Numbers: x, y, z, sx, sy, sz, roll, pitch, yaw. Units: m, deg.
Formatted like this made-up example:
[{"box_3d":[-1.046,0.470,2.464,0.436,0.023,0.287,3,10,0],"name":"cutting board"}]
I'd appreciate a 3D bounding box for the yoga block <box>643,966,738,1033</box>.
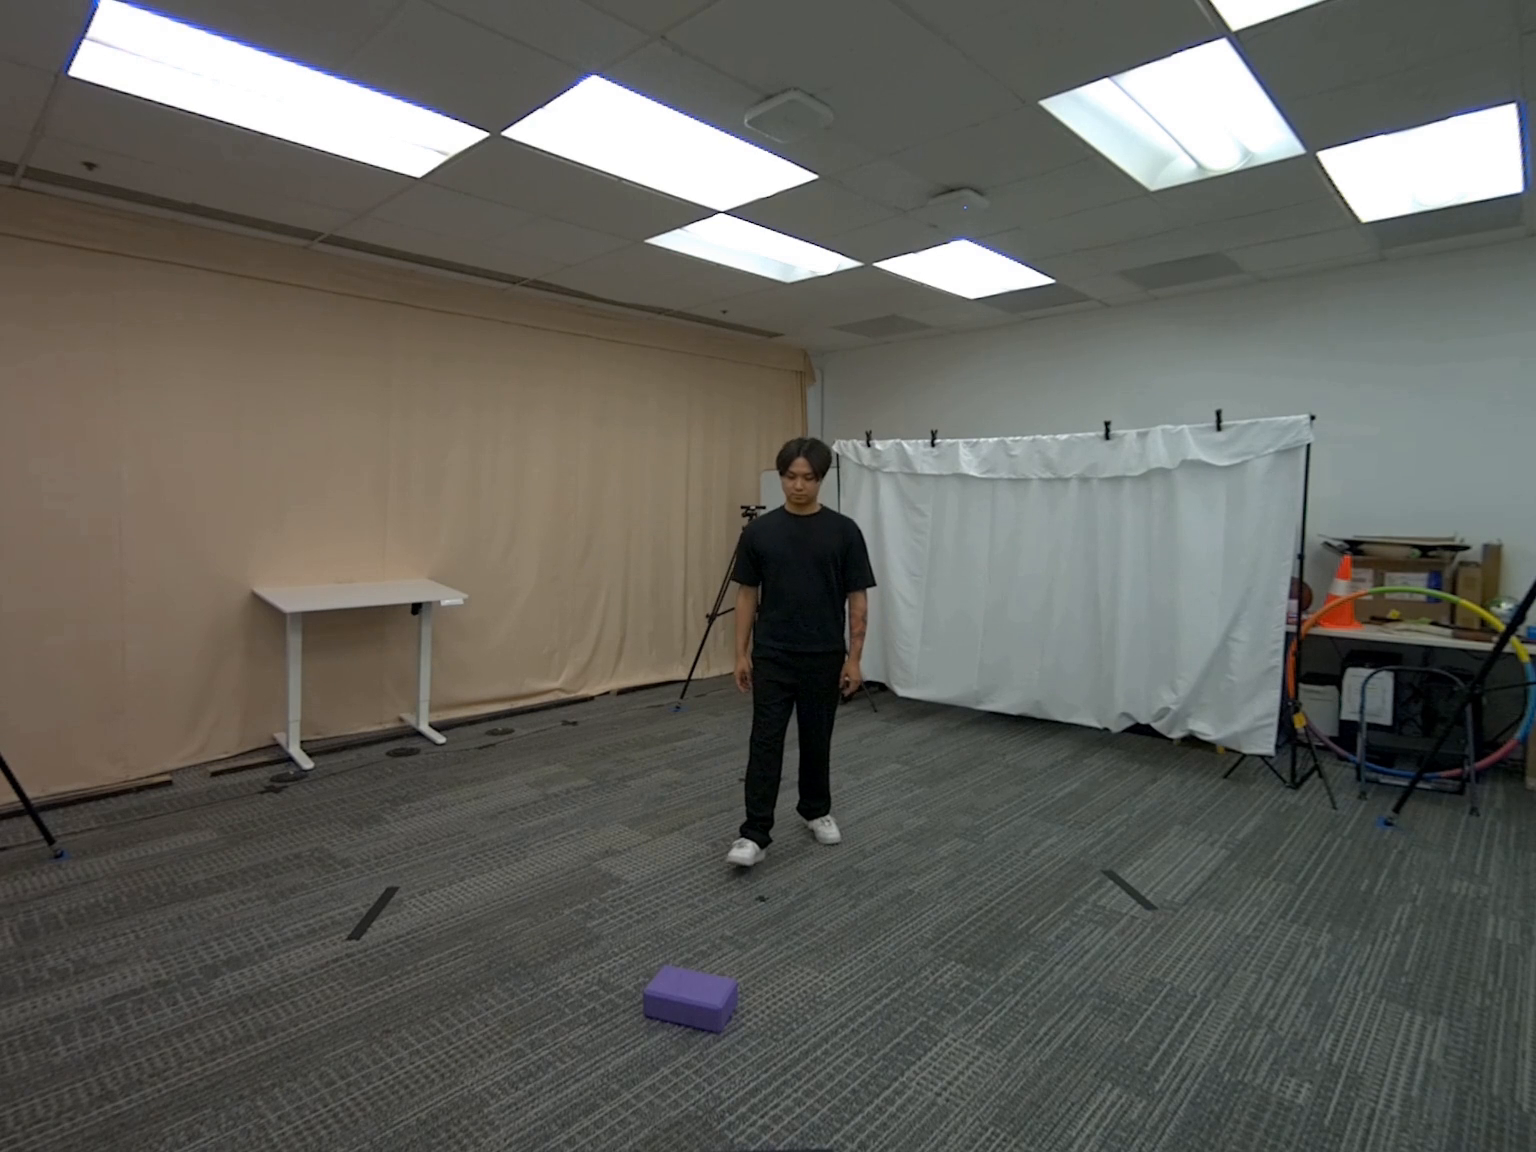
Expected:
[{"box_3d":[-0.209,1.163,2.315,0.234,0.076,0.146,1,4,20],"name":"yoga block"}]
